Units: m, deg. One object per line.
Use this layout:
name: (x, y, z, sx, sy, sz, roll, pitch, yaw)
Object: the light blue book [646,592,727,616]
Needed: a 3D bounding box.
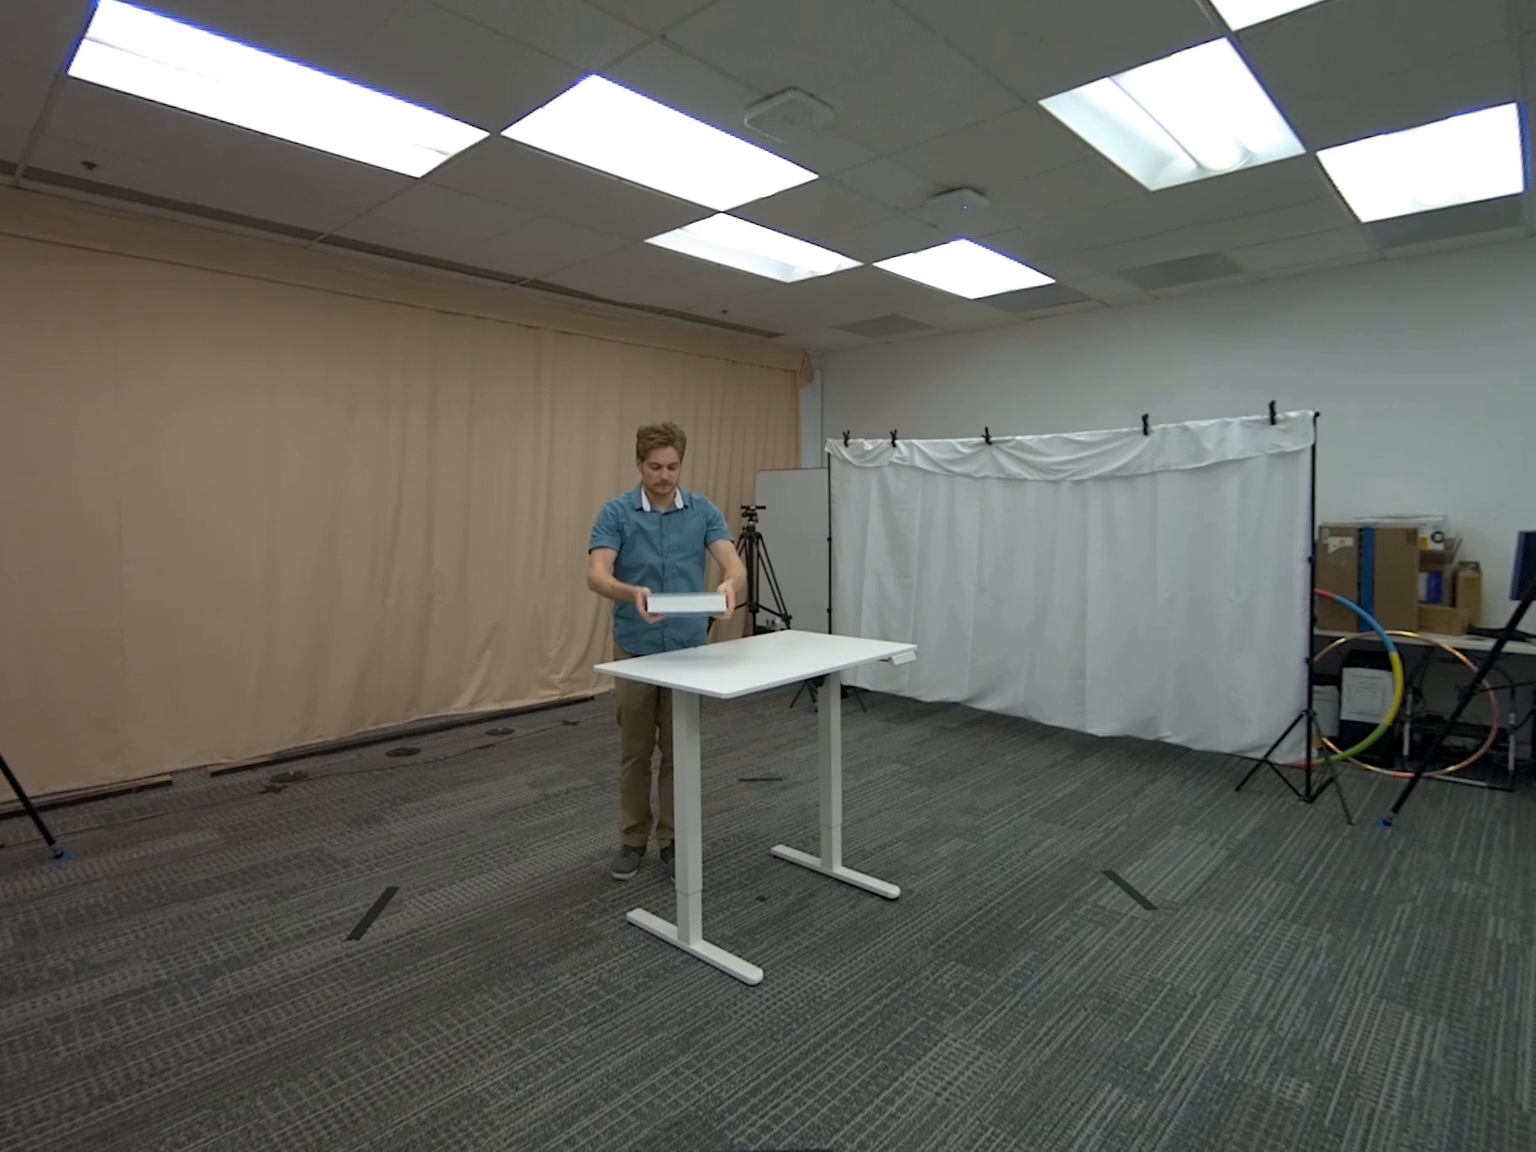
light blue book: (-0.277, 0.082, 2.803, 0.260, 0.059, 0.191, 0, -6, -3)
